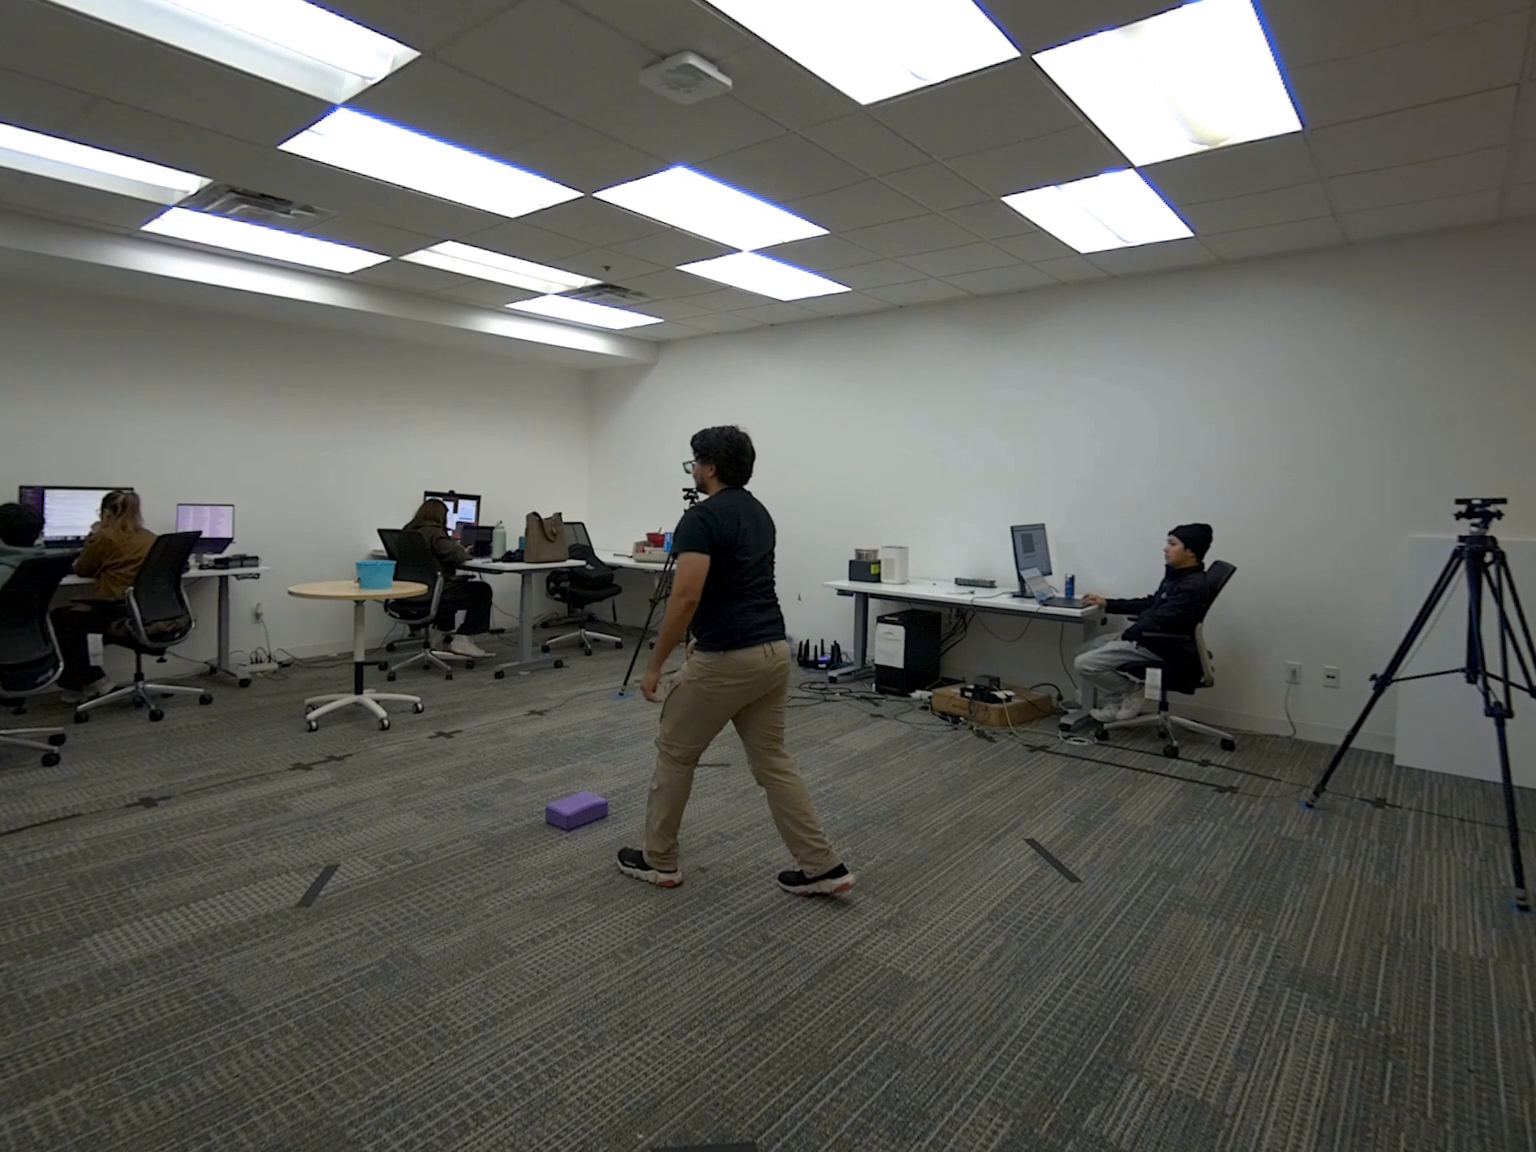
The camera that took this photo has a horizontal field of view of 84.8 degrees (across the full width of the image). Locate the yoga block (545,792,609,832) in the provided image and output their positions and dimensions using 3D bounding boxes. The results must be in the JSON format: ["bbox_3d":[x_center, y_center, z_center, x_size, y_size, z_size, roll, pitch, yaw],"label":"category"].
[{"bbox_3d":[-0.812,0.978,3.560,0.154,0.076,0.223,6,7,37],"label":"yoga block"}]
